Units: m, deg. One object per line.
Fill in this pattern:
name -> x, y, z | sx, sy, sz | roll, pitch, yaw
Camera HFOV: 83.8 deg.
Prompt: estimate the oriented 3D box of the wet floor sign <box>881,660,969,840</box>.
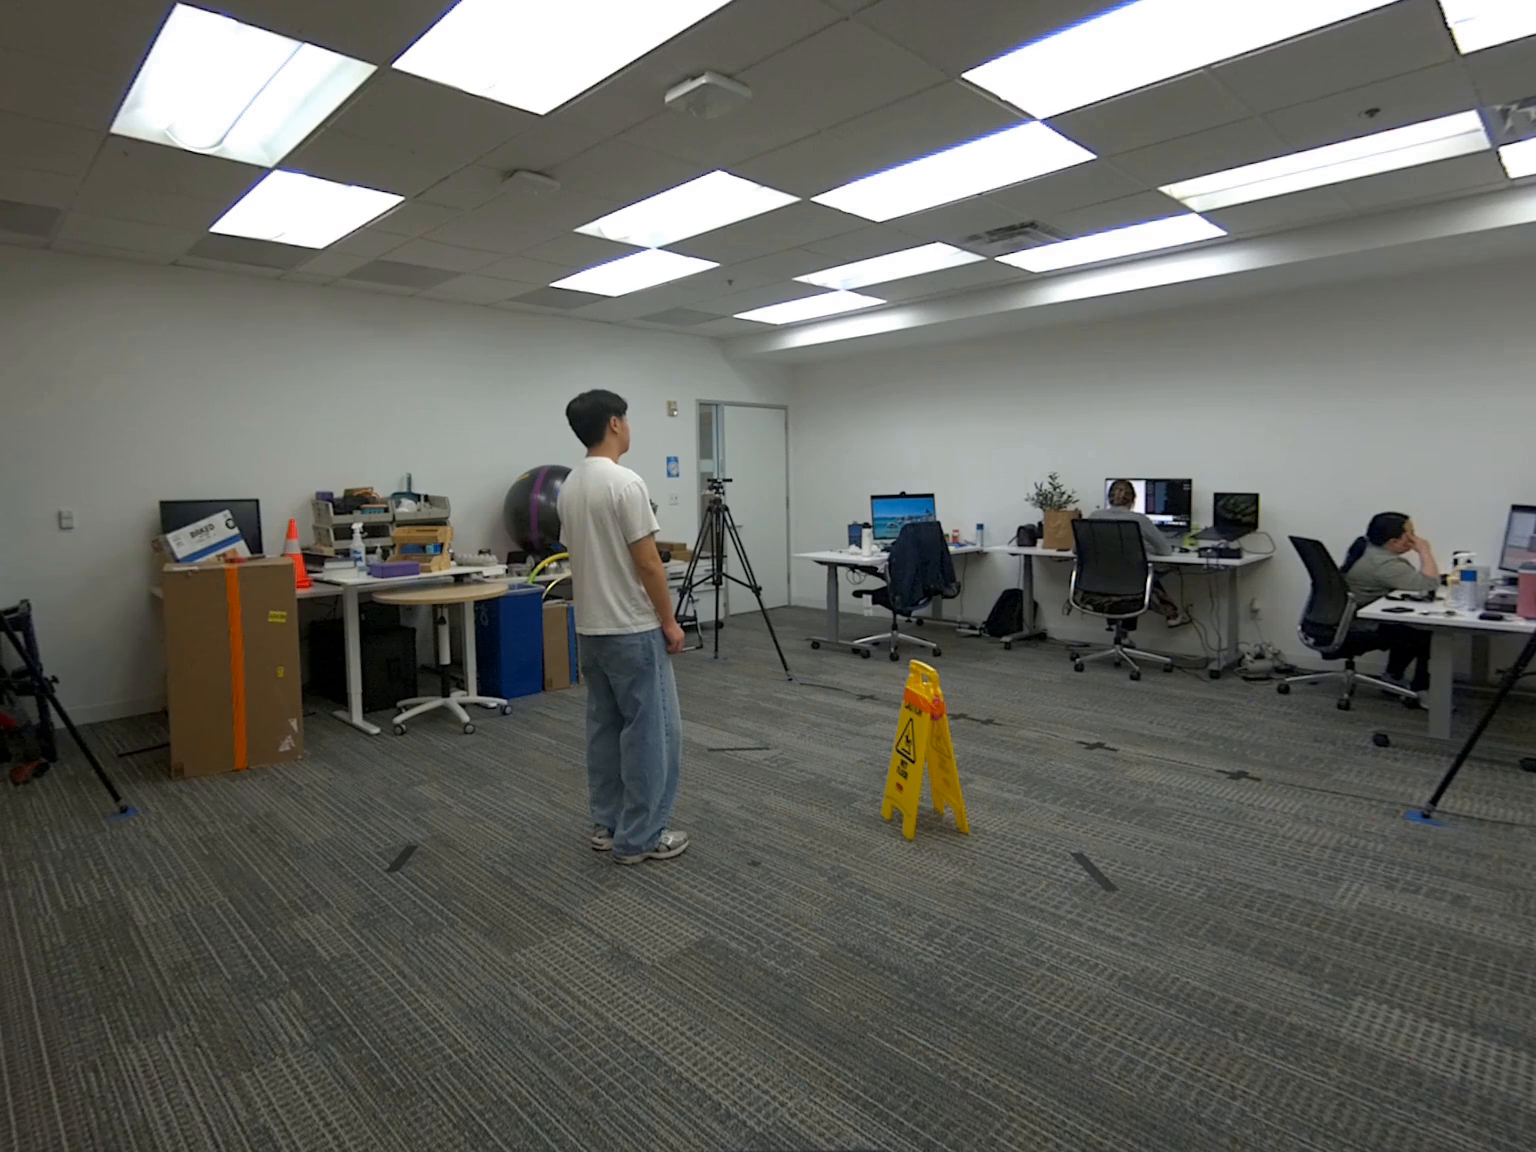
wet floor sign -> 0.625, 0.680, 3.396 | 0.286, 0.643, 0.287 | -2, 4, -14
